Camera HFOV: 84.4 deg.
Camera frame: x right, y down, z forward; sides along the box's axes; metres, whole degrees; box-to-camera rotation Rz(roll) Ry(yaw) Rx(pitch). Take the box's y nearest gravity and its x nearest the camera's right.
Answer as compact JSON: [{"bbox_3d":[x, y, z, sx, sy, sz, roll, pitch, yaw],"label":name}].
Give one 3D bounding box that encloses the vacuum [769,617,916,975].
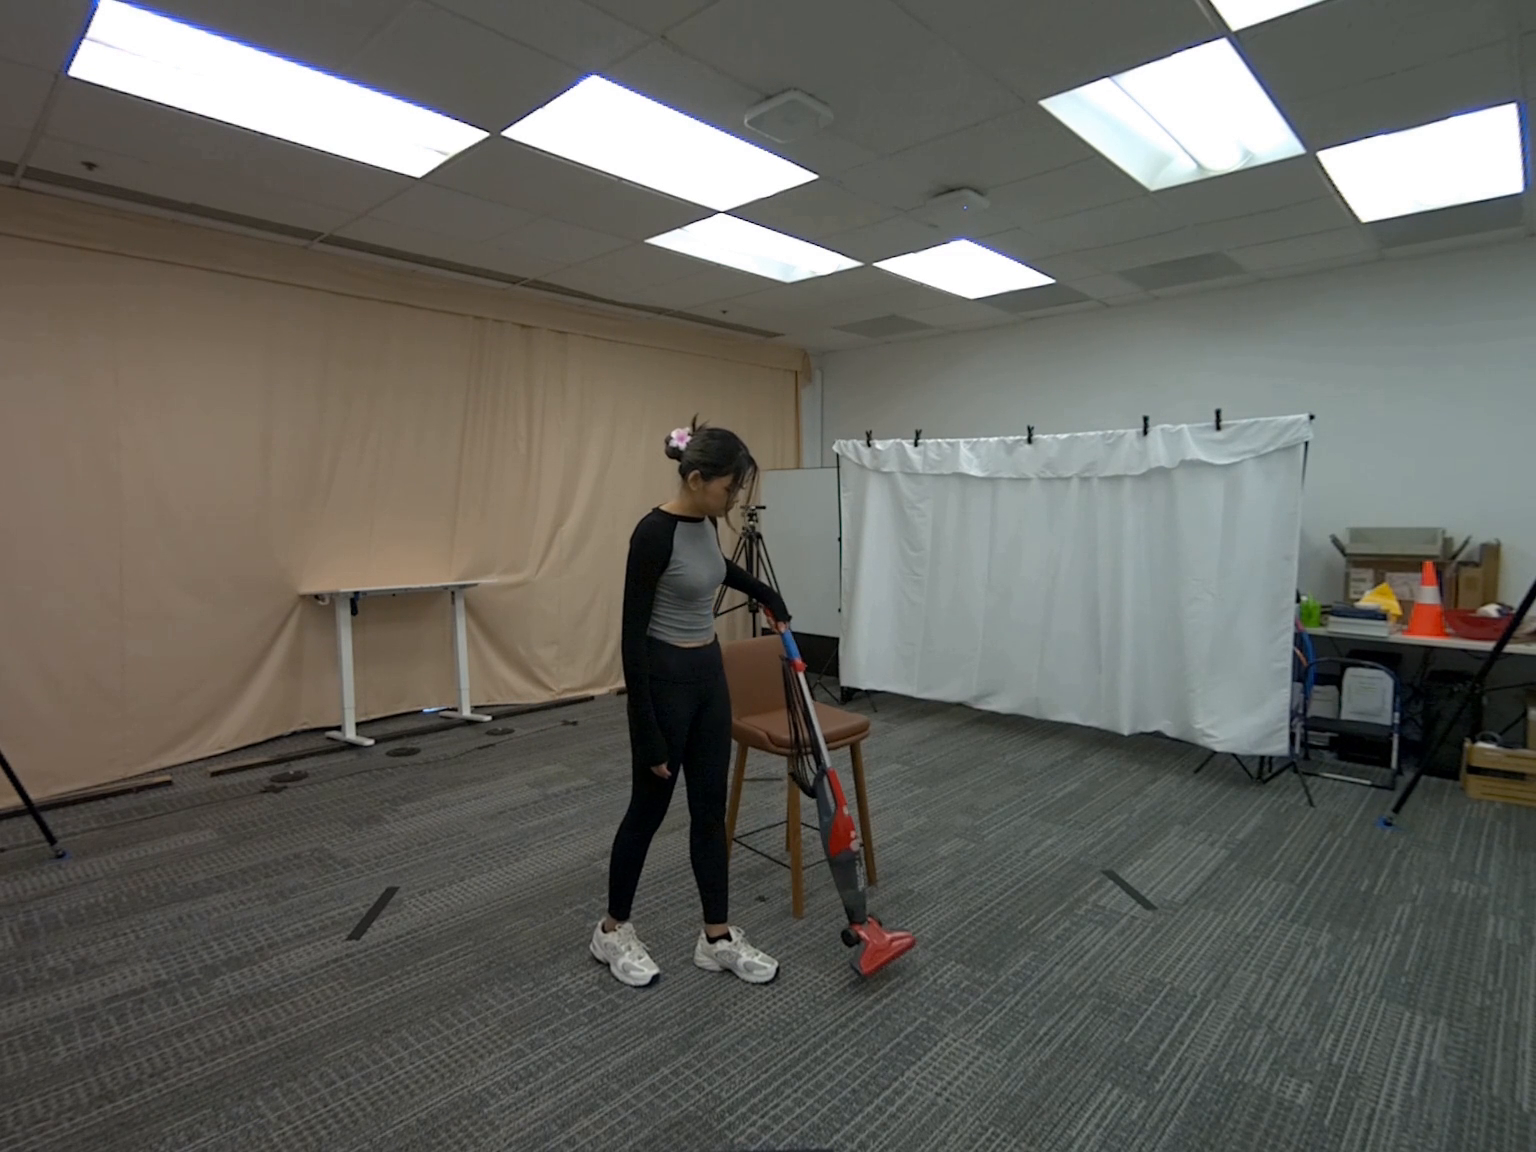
[{"bbox_3d":[0.165,0.596,2.591,0.147,1.059,0.245,-25,-13,36],"label":"vacuum"}]
